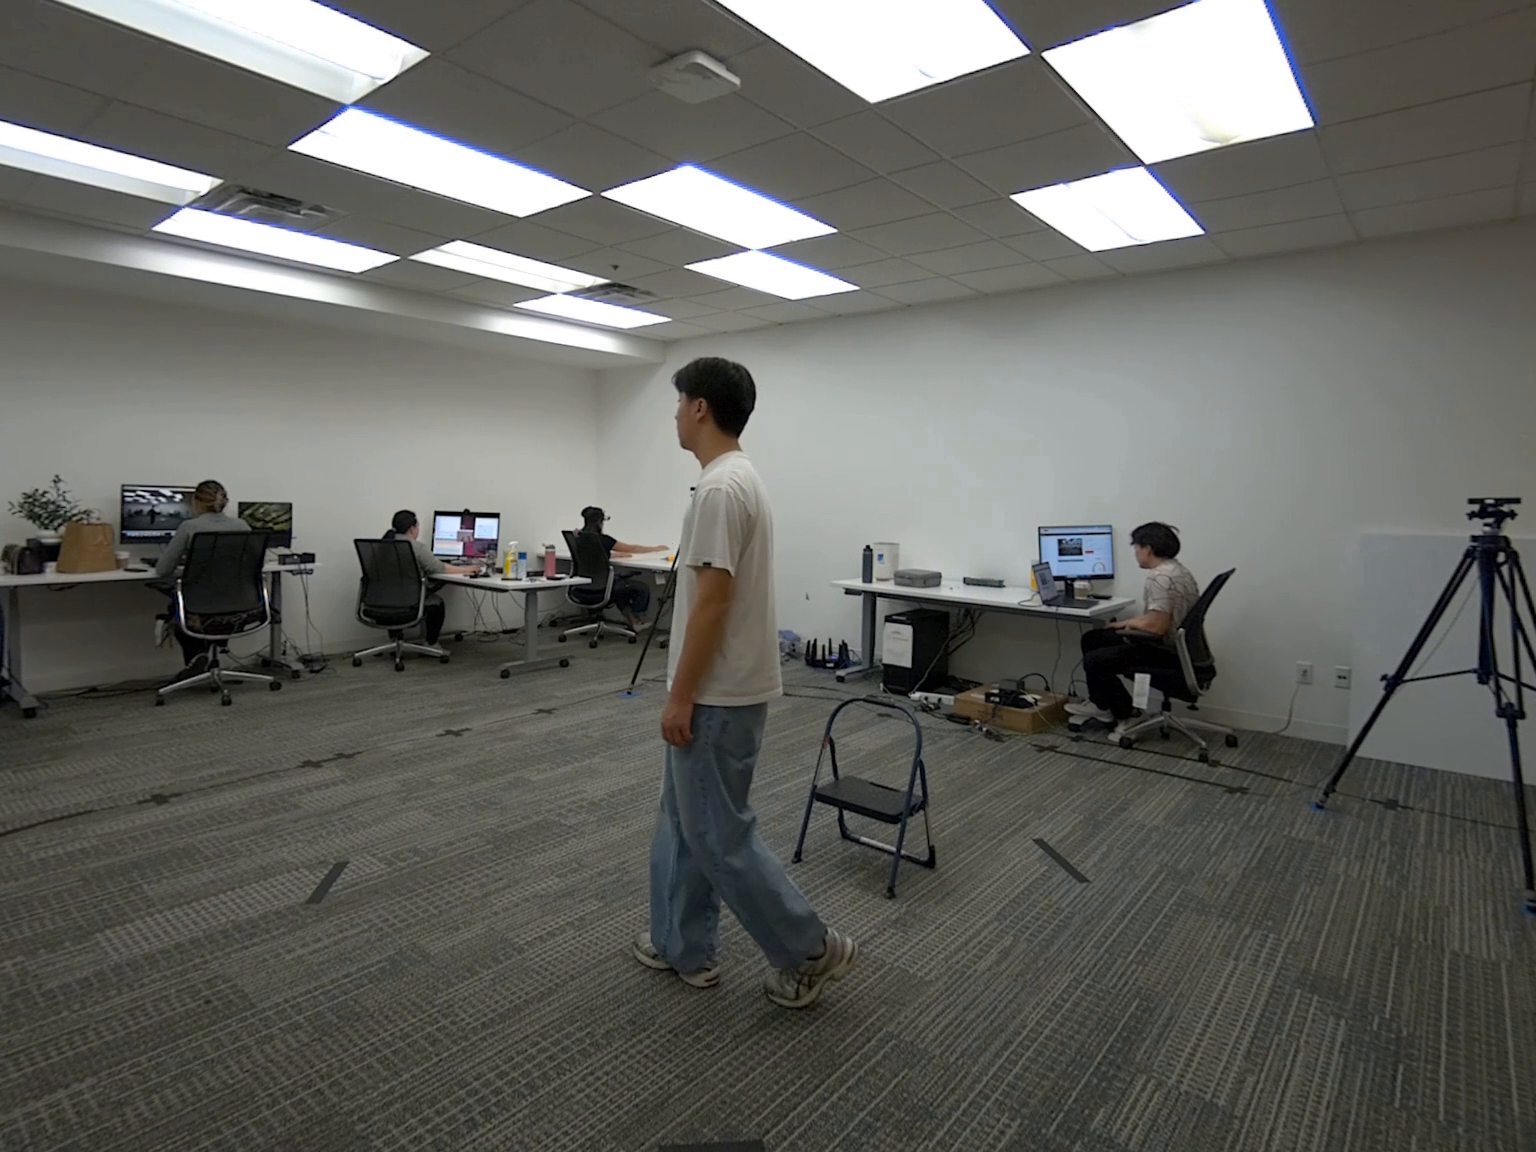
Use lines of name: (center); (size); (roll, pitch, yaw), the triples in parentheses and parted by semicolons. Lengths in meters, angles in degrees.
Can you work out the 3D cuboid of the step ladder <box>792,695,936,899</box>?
step ladder: (0.360, 0.768, 3.157); (0.445, 0.604, 0.339); (5, 5, 39)
